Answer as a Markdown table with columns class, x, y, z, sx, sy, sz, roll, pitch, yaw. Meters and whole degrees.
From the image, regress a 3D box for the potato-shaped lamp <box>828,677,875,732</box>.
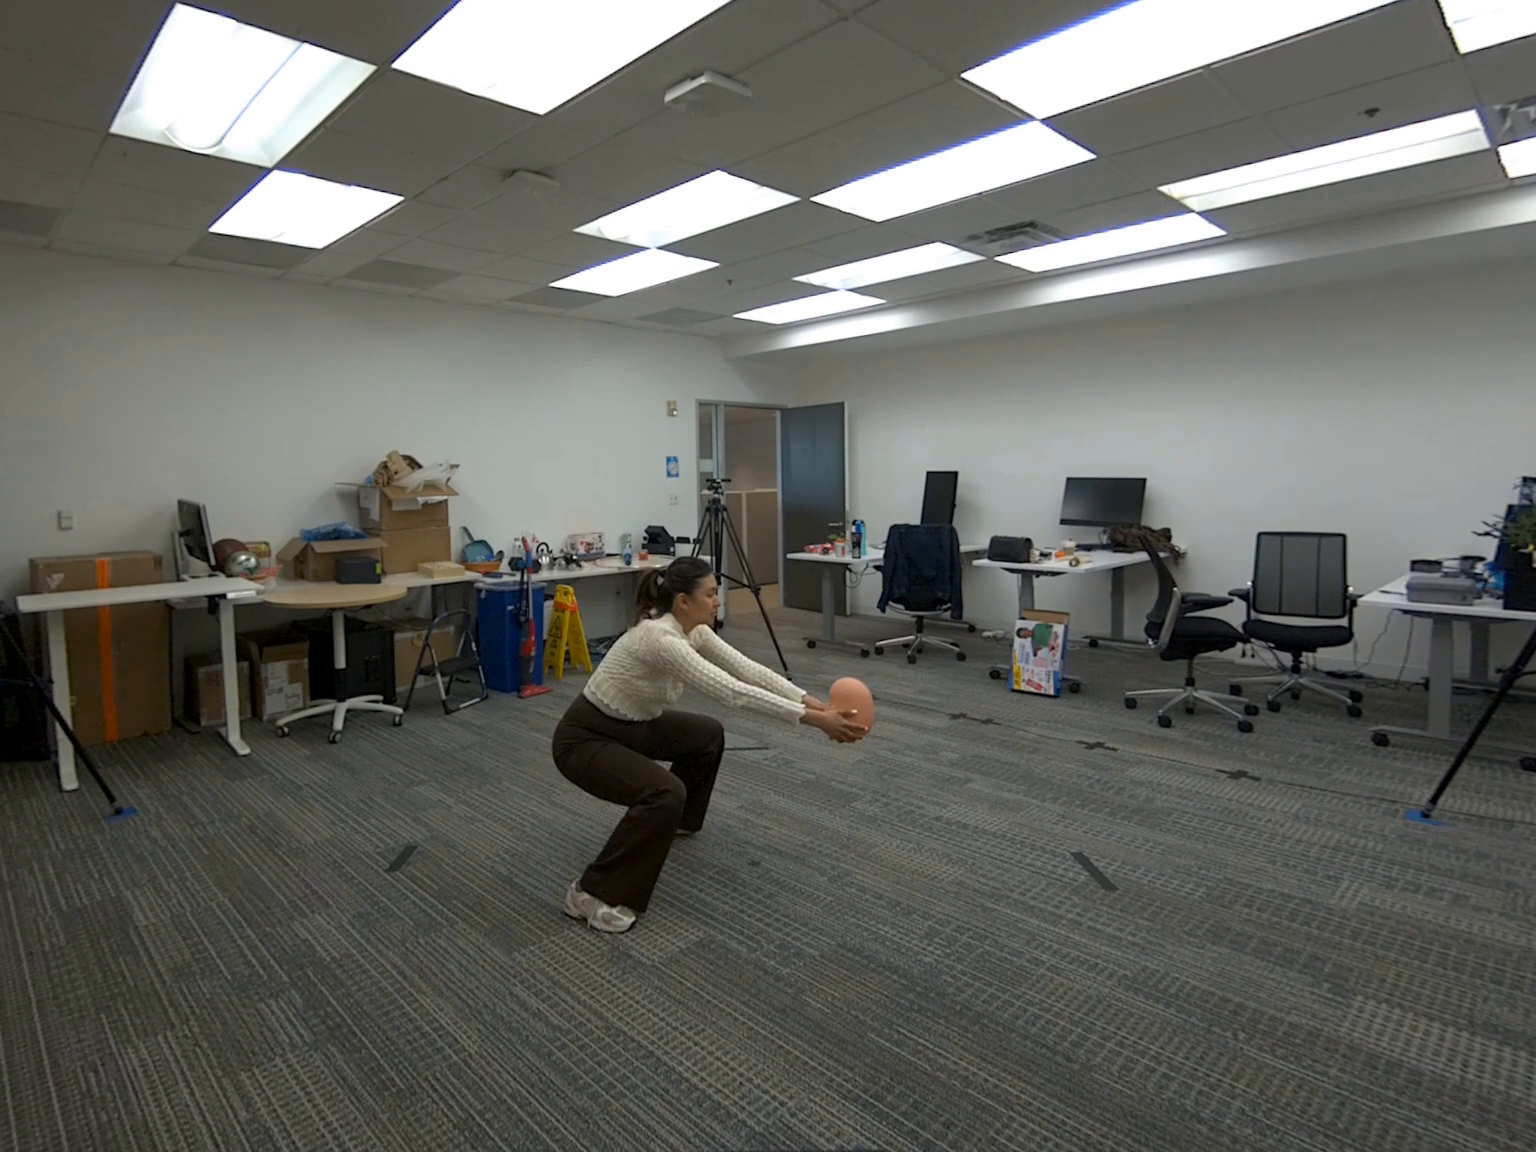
| class | x | y | z | sx | sy | sz | roll | pitch | yaw |
| --- | --- | --- | --- | --- | --- | --- | --- | --- | --- |
| potato-shaped lamp | 0.270 | 0.435 | 2.878 | 0.161 | 0.198 | 0.175 | -2 | -2 | -30 |
